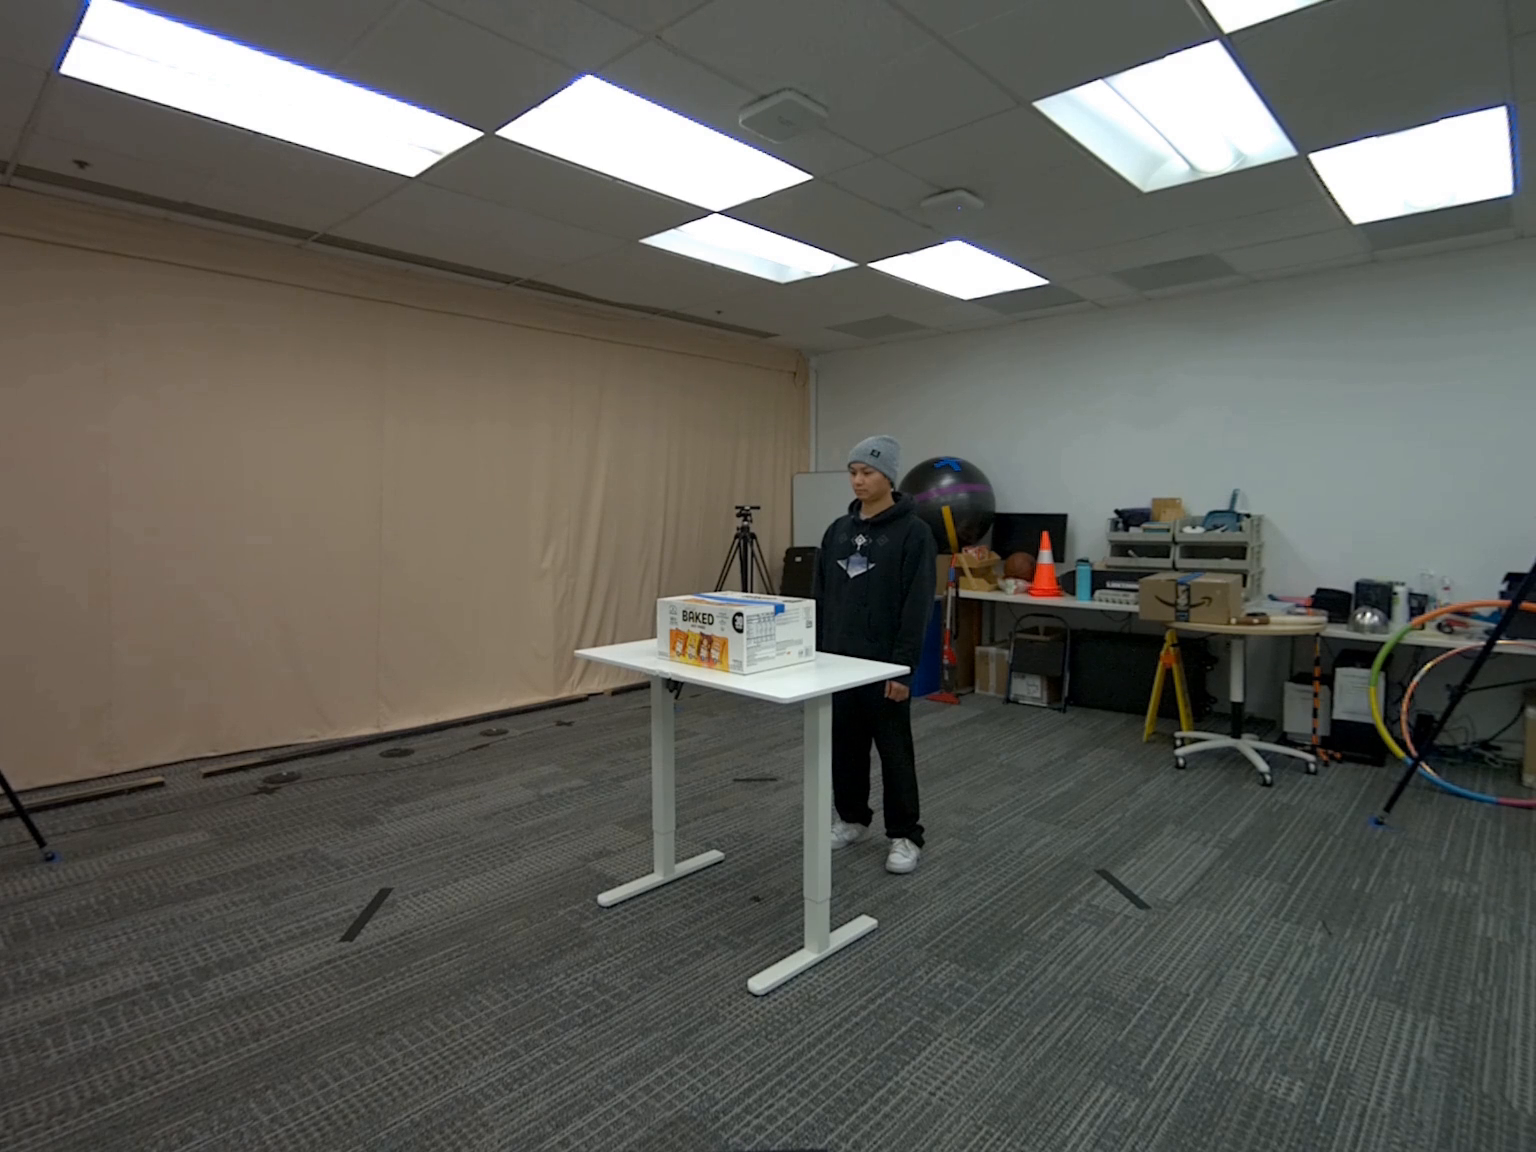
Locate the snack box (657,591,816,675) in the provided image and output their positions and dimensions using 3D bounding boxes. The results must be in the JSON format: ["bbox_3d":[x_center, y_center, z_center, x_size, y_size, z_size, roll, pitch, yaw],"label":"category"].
[{"bbox_3d":[-0.105,0.179,2.794,0.419,0.205,0.330,4,7,43],"label":"snack box"}]
